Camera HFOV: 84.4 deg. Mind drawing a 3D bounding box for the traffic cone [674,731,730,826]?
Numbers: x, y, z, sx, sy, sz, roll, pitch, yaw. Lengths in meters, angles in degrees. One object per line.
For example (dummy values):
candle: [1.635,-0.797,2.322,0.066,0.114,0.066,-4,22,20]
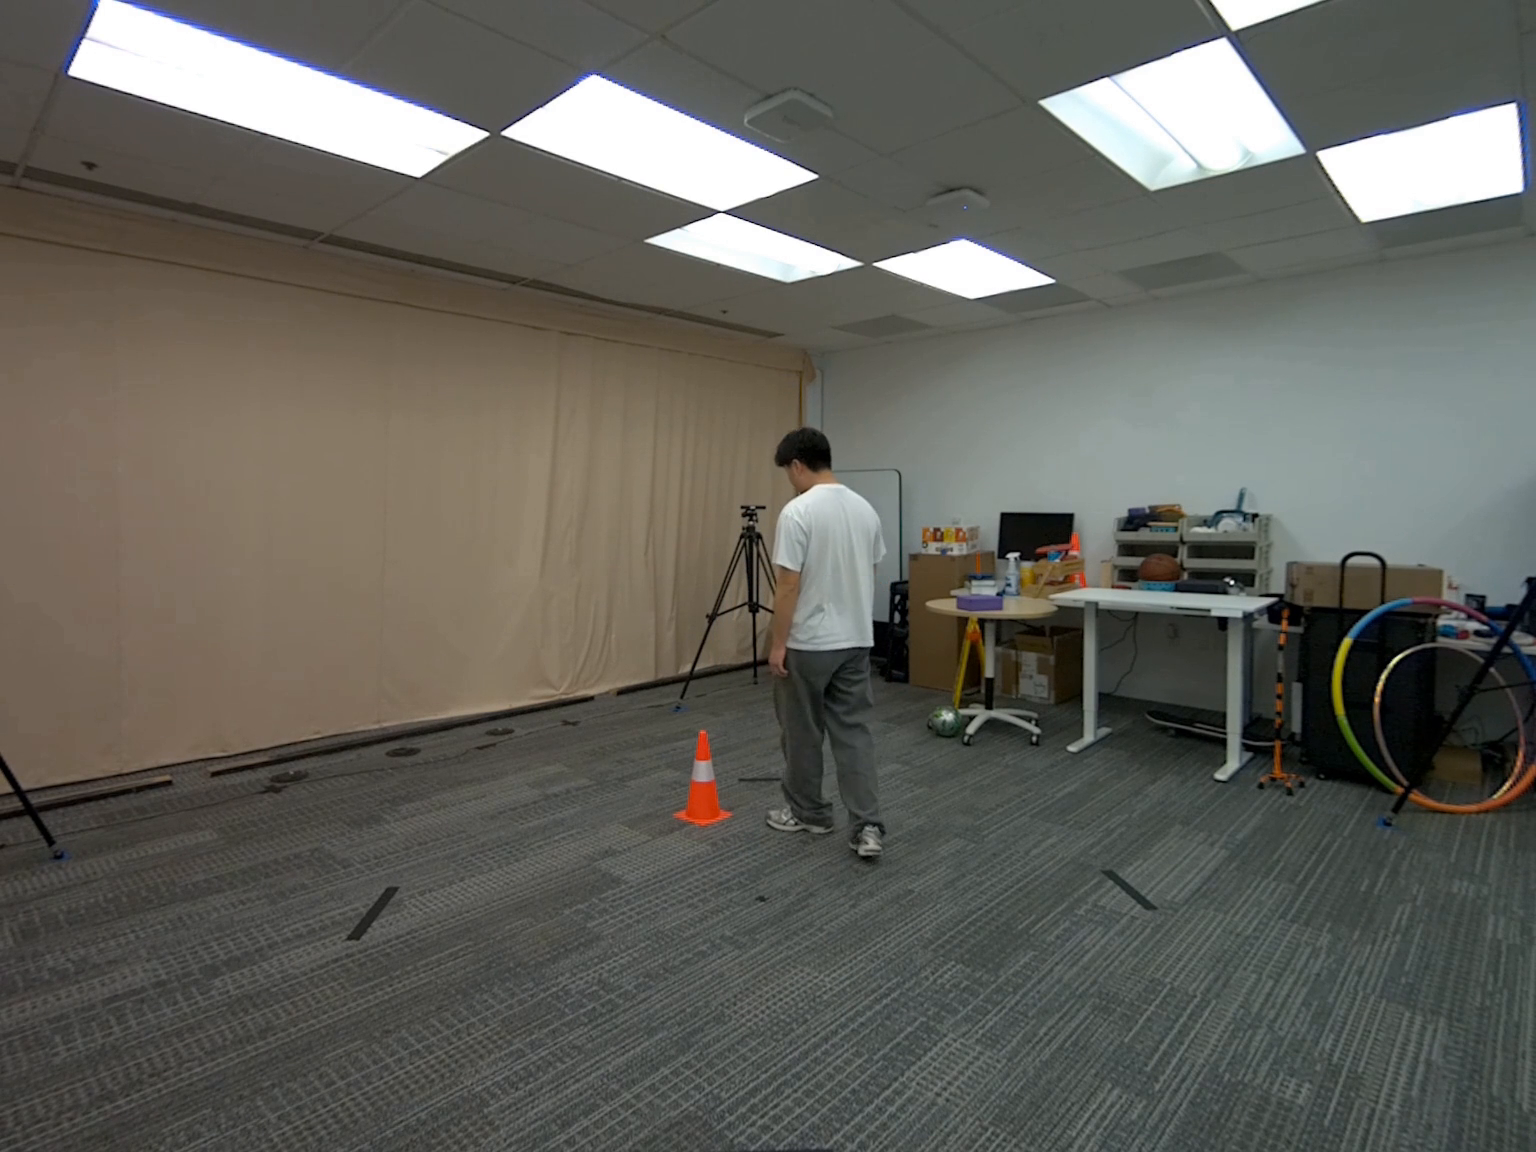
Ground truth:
traffic cone: [-0.287,0.895,3.802,0.197,0.383,0.211,-1,1,-41]
